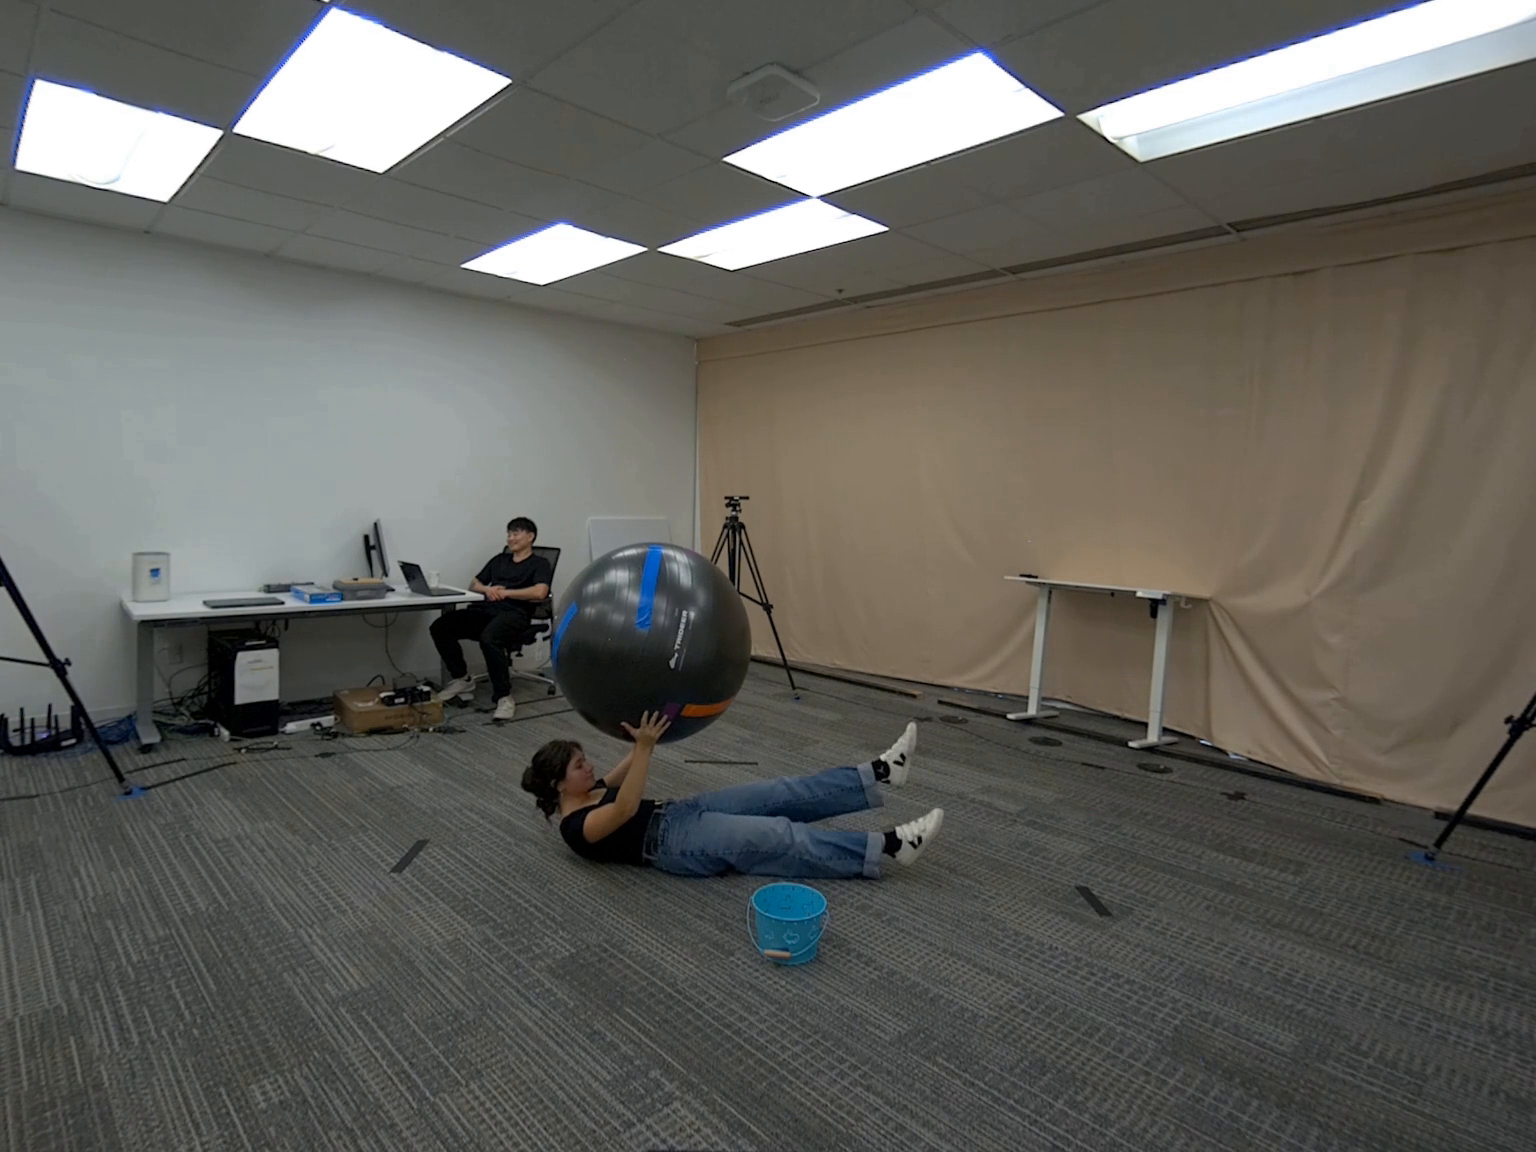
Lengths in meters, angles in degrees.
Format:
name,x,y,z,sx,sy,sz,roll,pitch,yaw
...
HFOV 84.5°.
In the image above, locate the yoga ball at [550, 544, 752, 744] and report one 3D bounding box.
name,x,y,z,sx,sy,sz,roll,pitch,yaw
yoga ball,-0.443,0.254,3.190,0.757,0.756,0.761,1,4,-1
